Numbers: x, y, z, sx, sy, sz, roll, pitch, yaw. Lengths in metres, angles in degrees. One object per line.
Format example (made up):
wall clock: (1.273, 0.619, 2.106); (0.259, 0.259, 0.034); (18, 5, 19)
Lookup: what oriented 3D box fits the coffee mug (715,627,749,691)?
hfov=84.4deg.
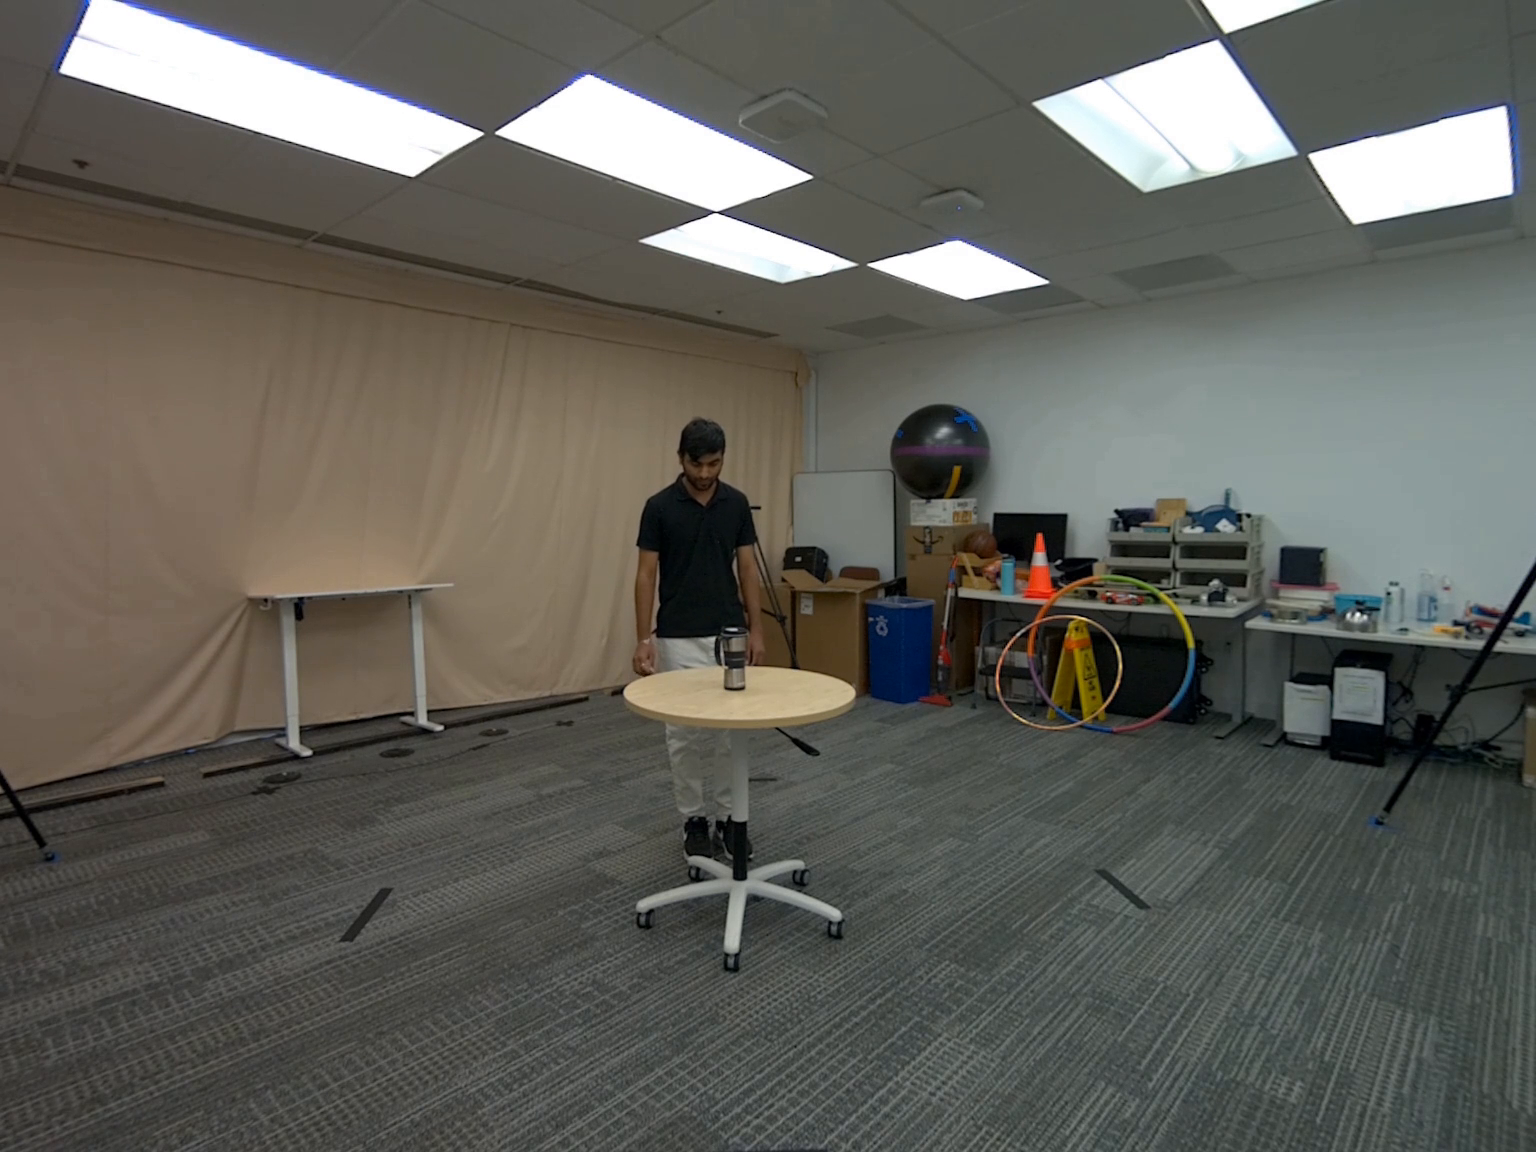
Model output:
coffee mug: (-0.126, 0.278, 2.816); (0.126, 0.202, 0.085); (3, 10, 37)
